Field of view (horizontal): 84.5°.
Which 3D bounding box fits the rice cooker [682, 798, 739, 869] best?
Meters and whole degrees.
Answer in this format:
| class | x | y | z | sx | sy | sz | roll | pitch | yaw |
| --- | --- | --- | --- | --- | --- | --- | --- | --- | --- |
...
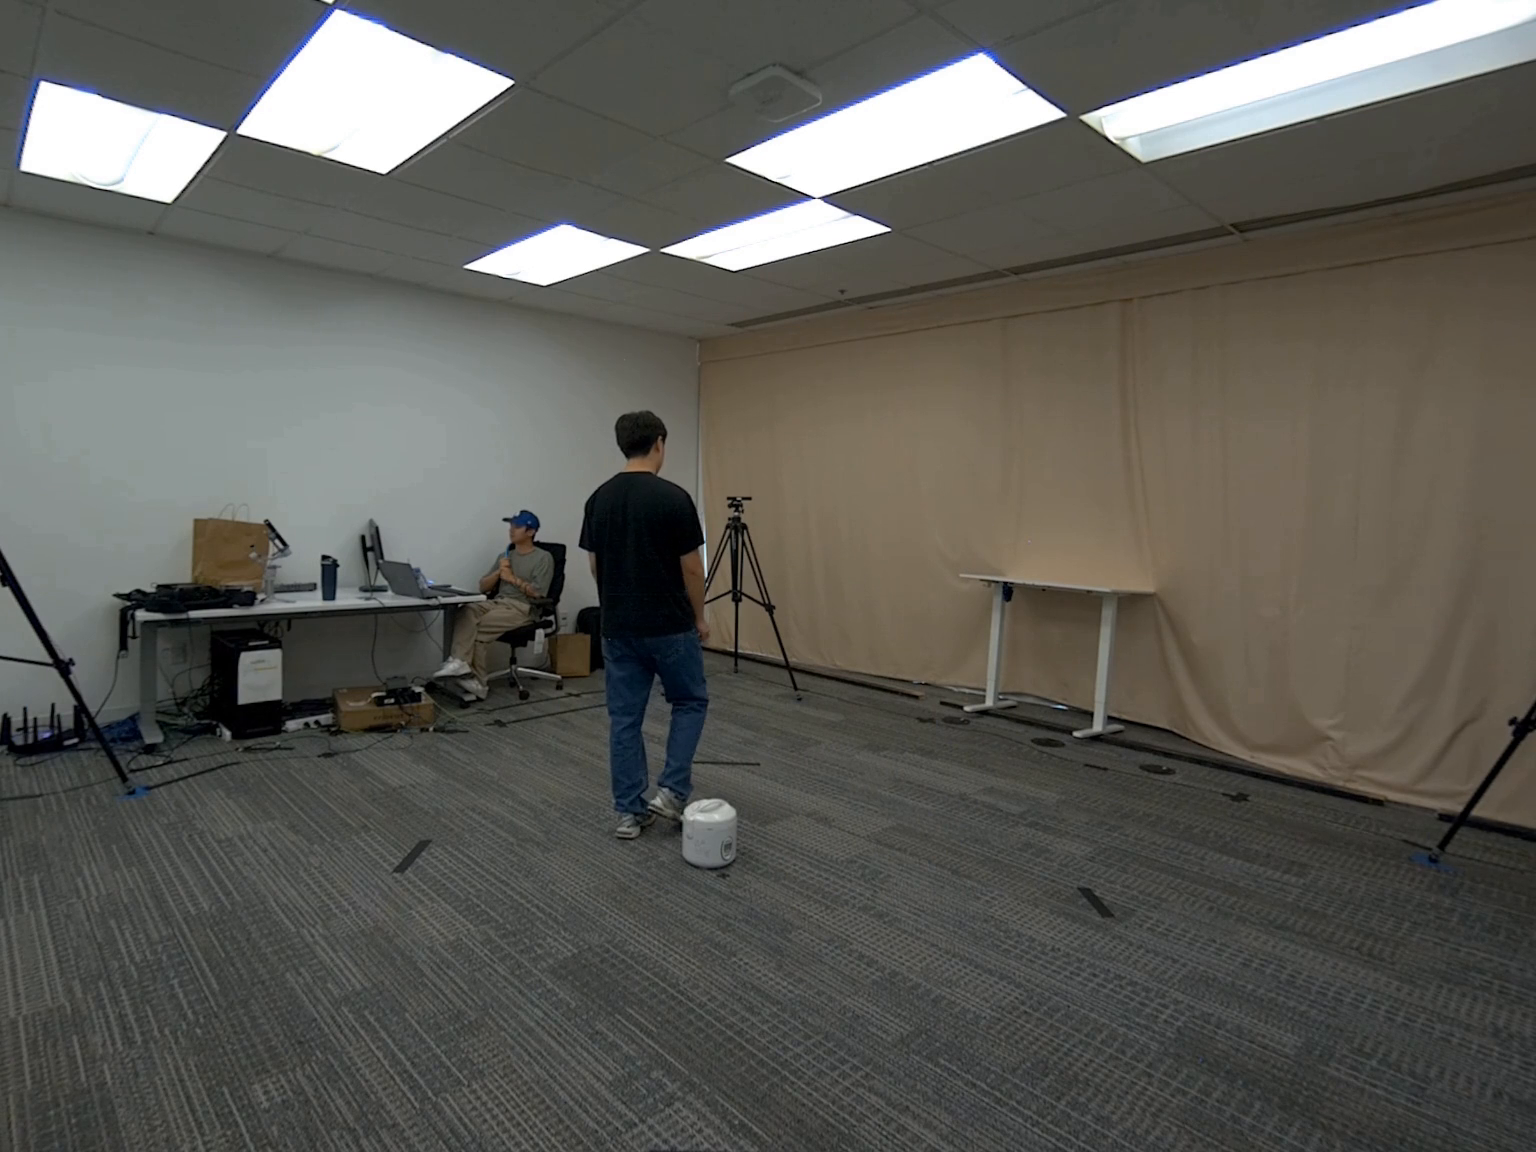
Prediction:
| class | x | y | z | sx | sy | sz | roll | pitch | yaw |
| --- | --- | --- | --- | --- | --- | --- | --- | --- | --- |
| rice cooker | -0.226 | 0.977 | 3.232 | 0.215 | 0.232 | 0.223 | -2 | 4 | -42 |
